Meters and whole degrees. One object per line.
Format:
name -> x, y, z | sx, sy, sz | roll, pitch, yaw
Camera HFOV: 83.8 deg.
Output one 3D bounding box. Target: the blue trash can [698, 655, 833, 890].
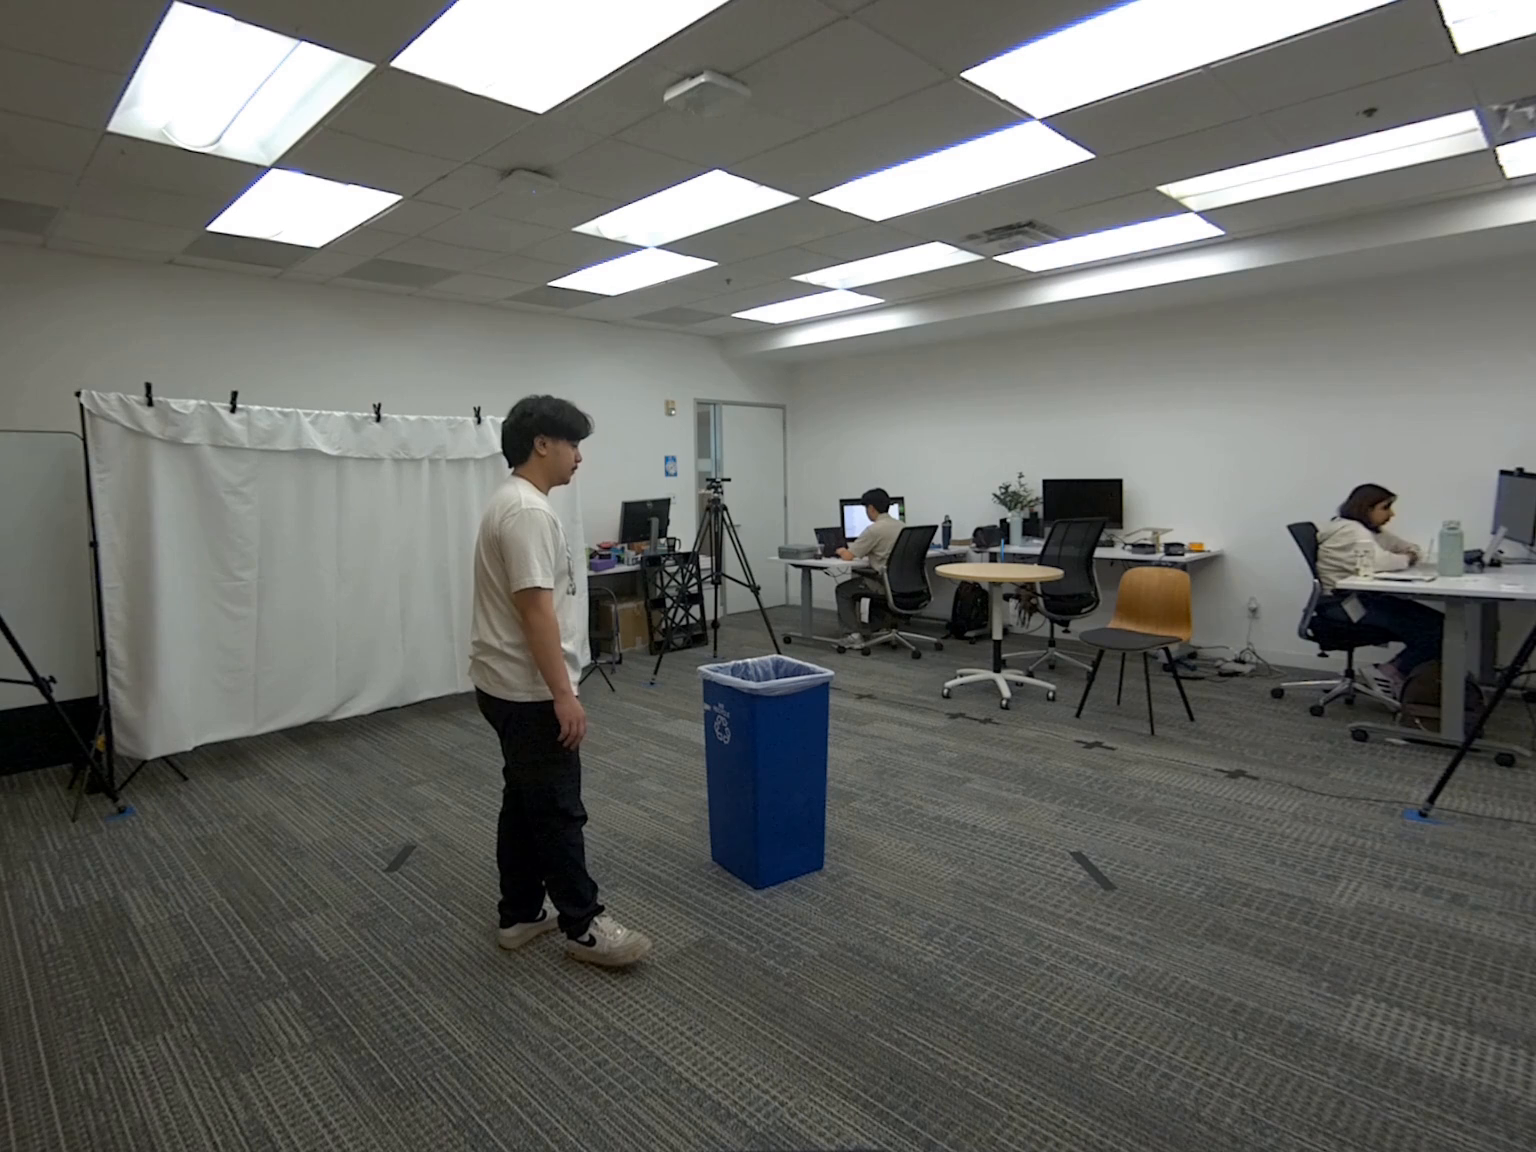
blue trash can -> 0.001, 0.688, 3.070 | 0.368, 0.711, 0.385 | -4, 5, -35
